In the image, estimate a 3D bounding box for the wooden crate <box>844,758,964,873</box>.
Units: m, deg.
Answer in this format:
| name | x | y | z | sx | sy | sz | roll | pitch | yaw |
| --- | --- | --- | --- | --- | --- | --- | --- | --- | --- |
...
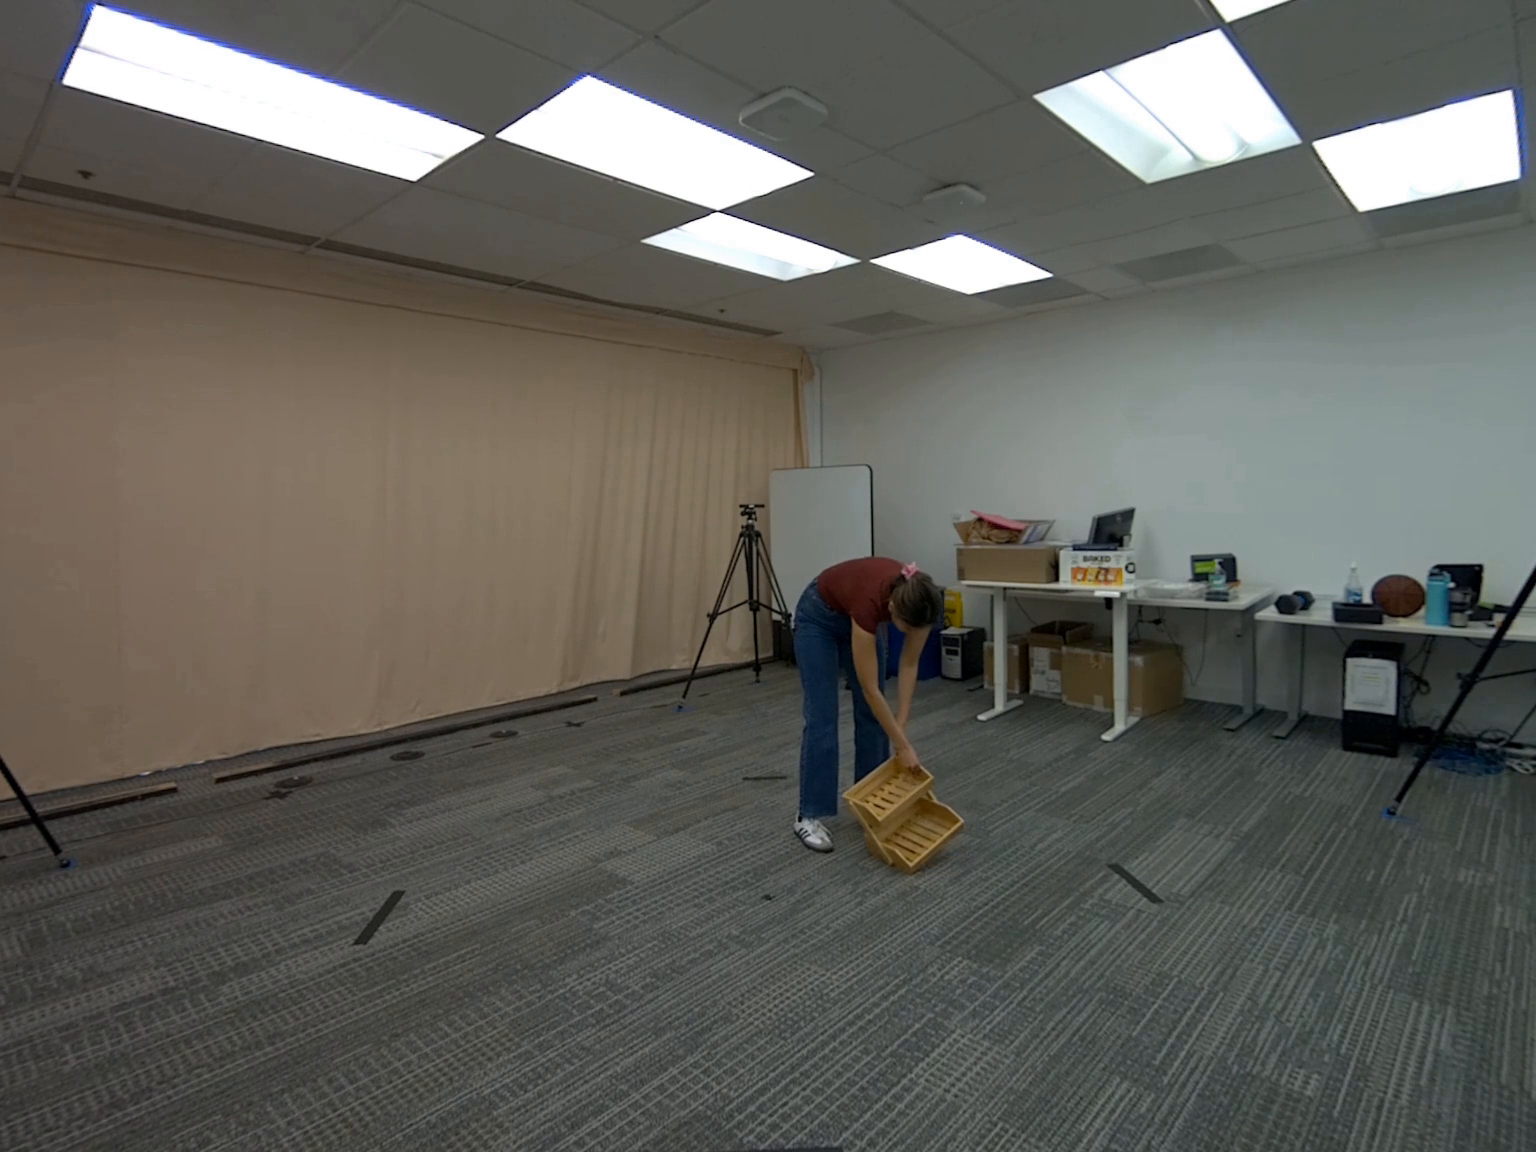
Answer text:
| name | x | y | z | sx | sy | sz | roll | pitch | yaw |
| --- | --- | --- | --- | --- | --- | --- | --- | --- | --- |
| wooden crate | 0.533 | 0.923 | 3.288 | 0.319 | 0.270 | 0.311 | -29 | 17 | -28 |
